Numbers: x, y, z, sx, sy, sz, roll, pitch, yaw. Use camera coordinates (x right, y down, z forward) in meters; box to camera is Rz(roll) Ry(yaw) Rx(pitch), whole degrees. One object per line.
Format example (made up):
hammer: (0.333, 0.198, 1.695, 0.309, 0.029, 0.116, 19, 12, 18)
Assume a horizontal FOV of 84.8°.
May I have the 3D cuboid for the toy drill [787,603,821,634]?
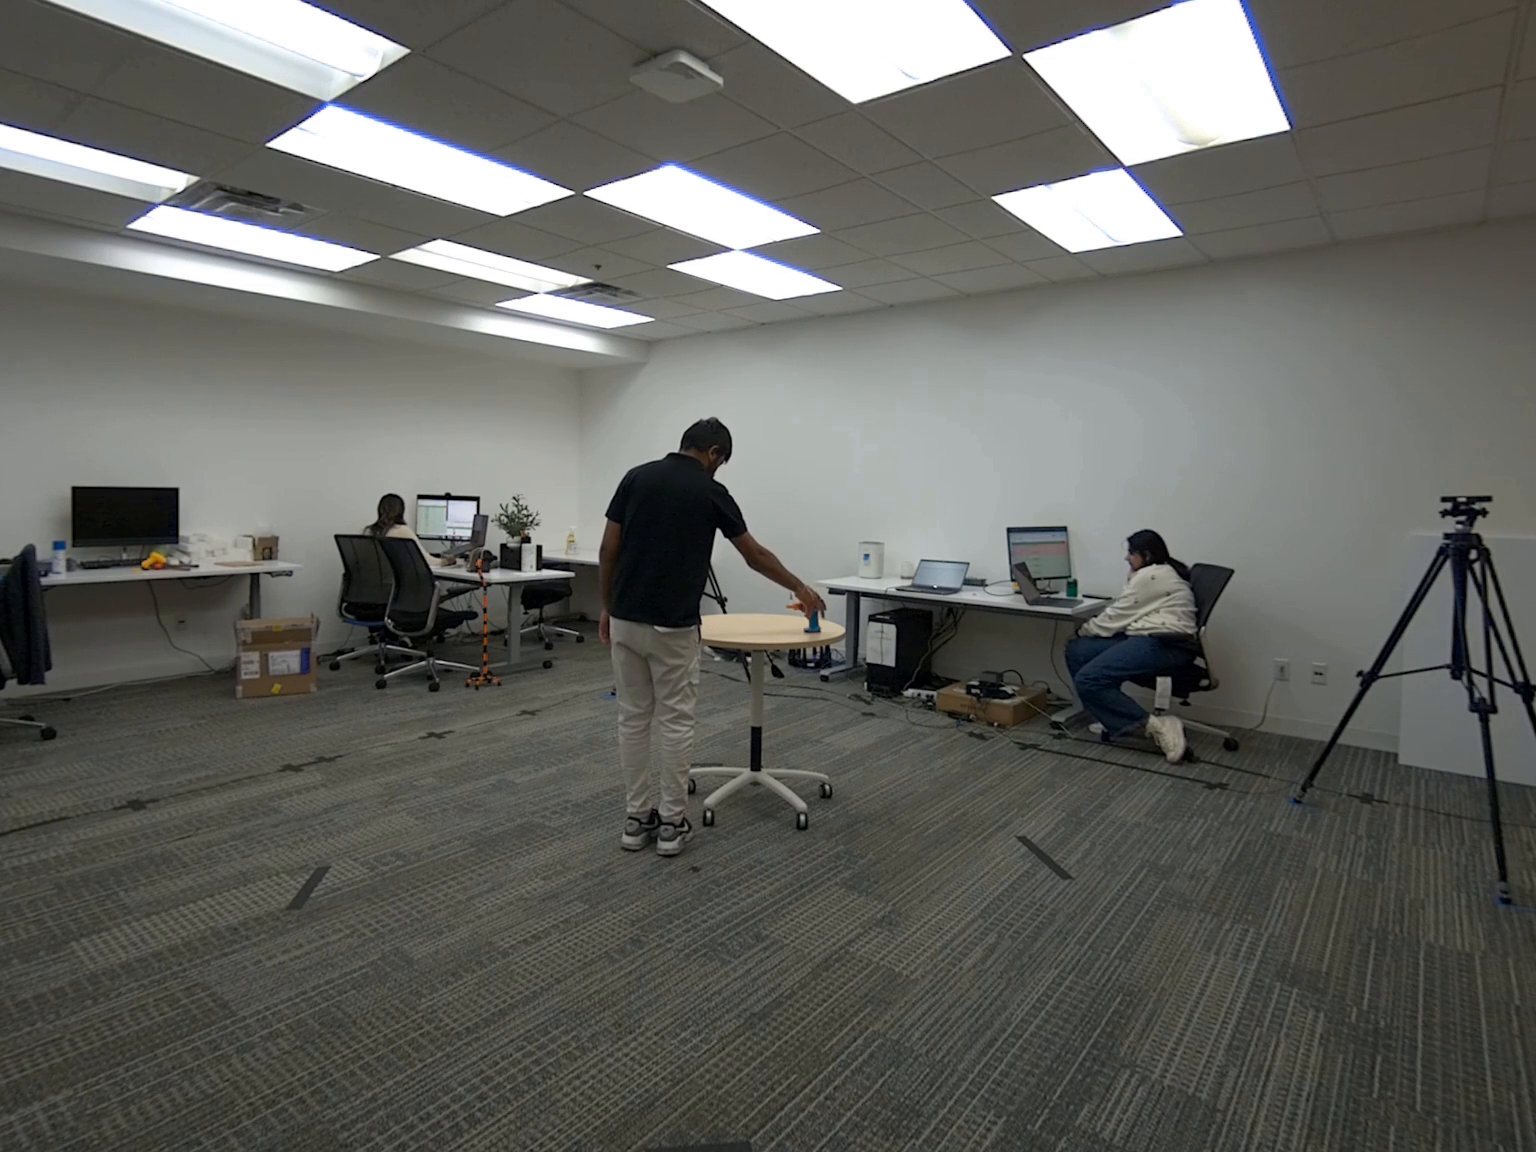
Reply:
toy drill: (0.142, 0.163, 3.638, 0.167, 0.145, 0.062, -1, 6, -15)
